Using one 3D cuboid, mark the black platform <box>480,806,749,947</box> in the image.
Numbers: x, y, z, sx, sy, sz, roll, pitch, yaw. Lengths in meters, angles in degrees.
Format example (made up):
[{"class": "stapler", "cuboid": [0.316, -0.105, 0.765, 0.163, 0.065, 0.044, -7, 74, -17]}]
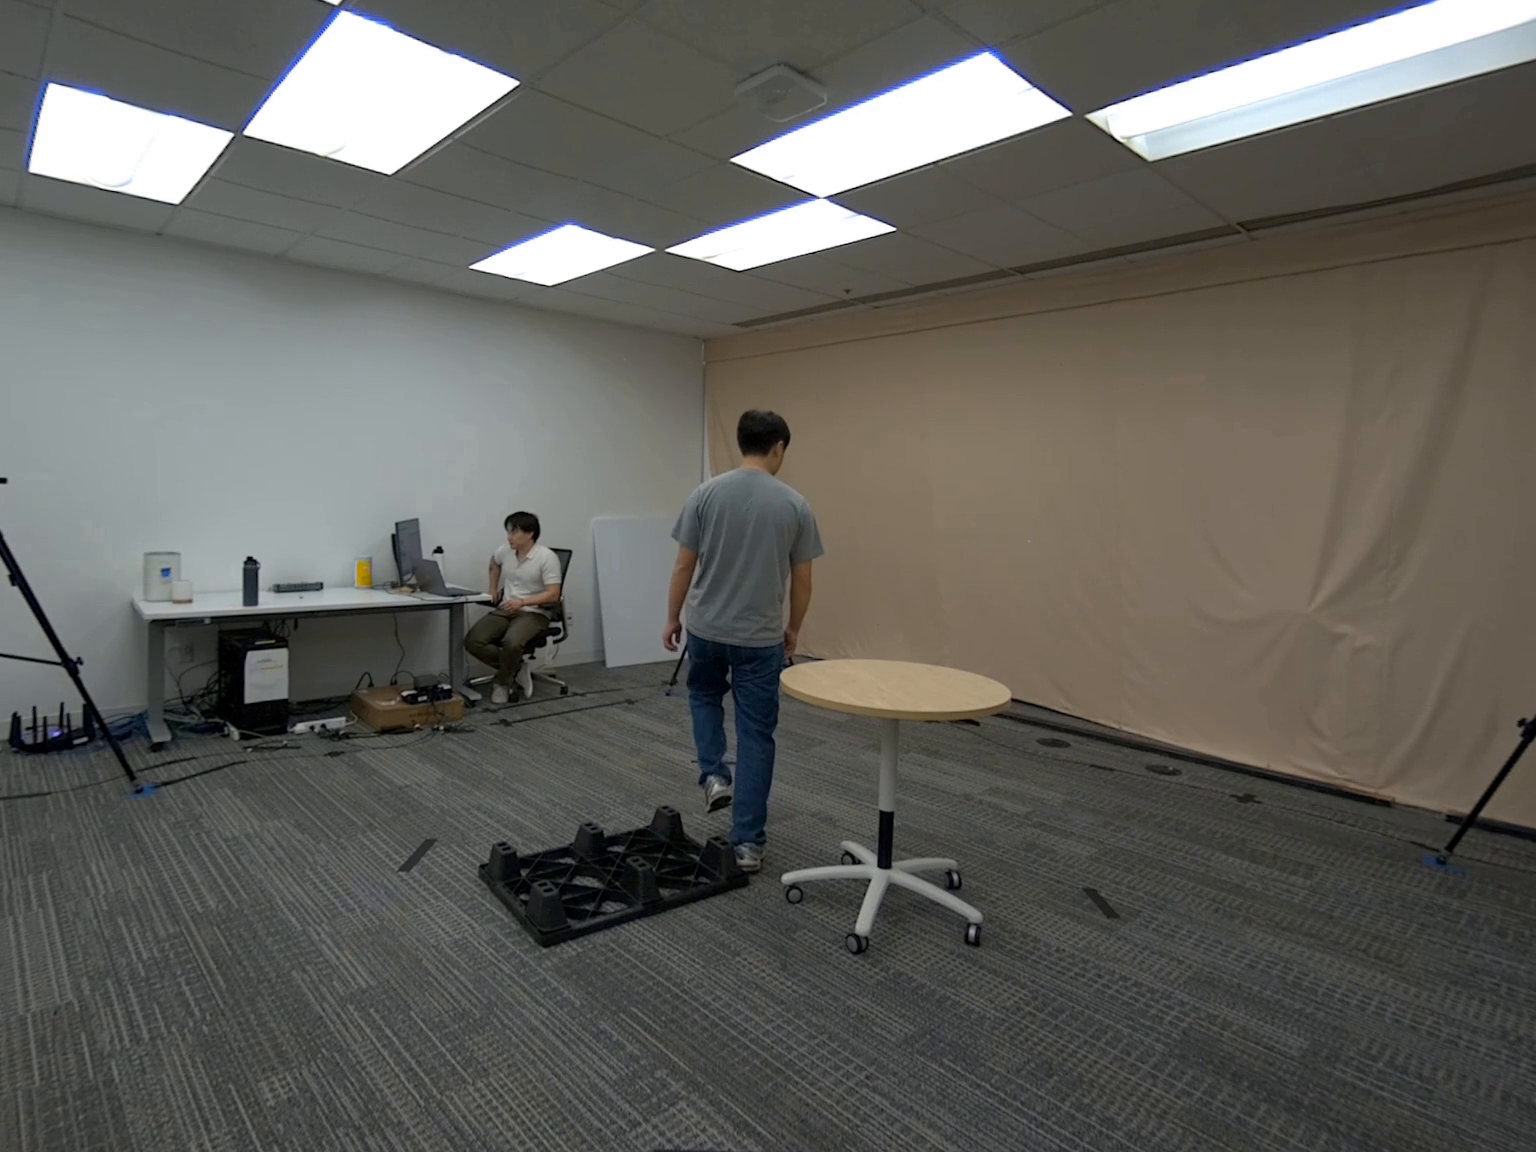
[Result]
[{"class": "black platform", "cuboid": [-0.564, 1.038, 3.031, 0.788, 0.143, 0.620, -3, 6, -37]}]
